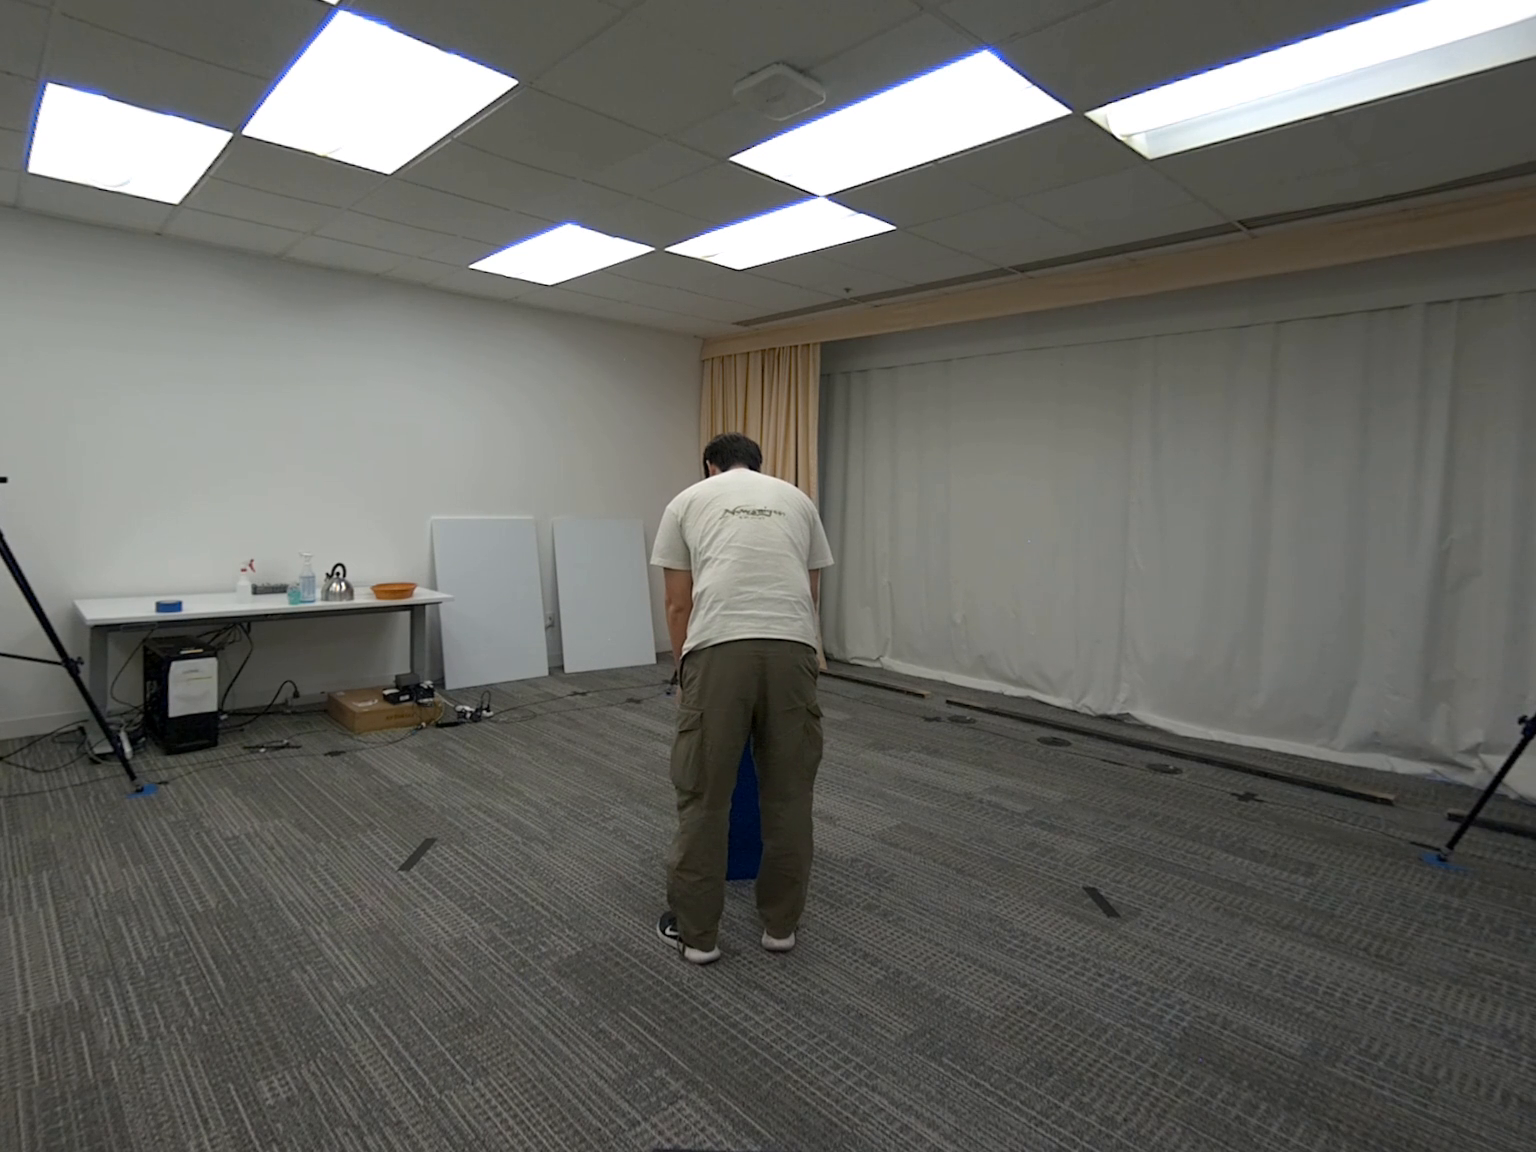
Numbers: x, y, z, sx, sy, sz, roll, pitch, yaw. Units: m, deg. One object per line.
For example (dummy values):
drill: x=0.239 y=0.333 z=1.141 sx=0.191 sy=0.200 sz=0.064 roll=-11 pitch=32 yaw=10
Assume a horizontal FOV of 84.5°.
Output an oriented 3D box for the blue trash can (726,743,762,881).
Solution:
blue trash can: x=-0.154 y=0.727 z=3.121 sx=0.375 sy=0.706 sz=0.380 roll=1 pitch=15 yaw=-9
